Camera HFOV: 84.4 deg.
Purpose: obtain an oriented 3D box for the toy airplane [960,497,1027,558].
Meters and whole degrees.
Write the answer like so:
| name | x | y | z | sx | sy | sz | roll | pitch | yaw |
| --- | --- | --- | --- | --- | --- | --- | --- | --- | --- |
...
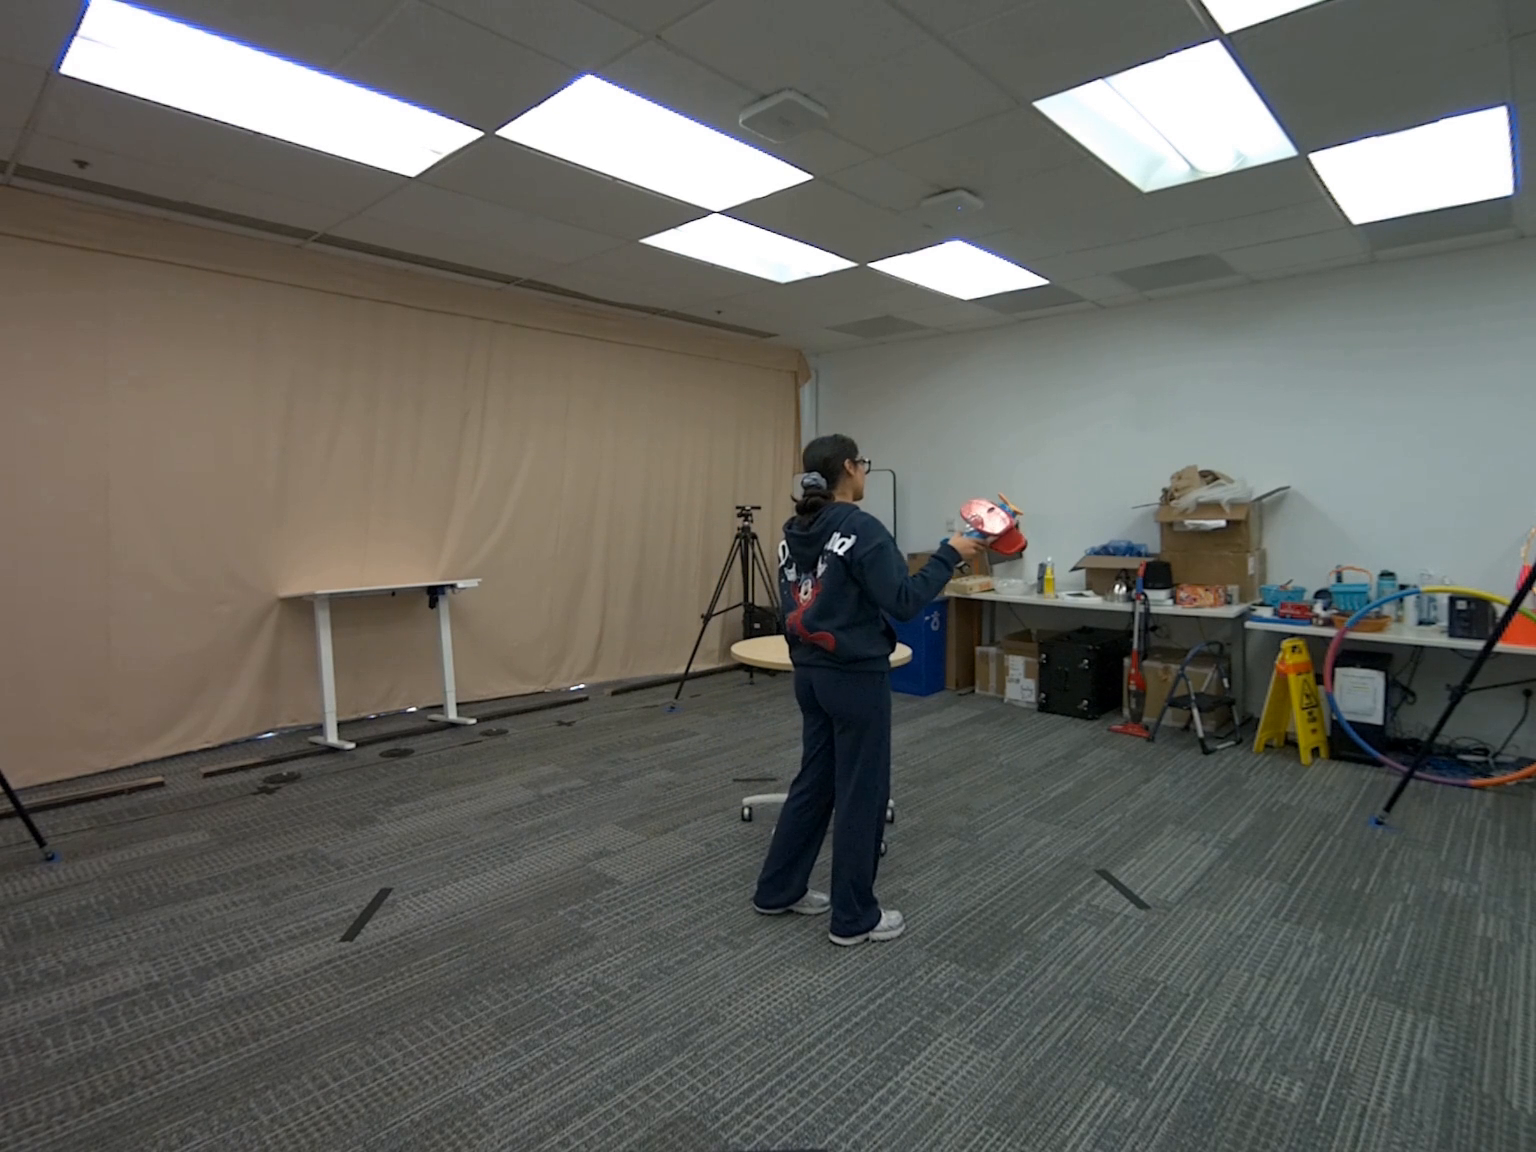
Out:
| name | x | y | z | sx | sy | sz | roll | pitch | yaw |
| --- | --- | --- | --- | --- | --- | --- | --- | --- | --- |
| toy airplane | 0.685 | -0.122 | 2.576 | 0.256 | 0.153 | 0.260 | -39 | 30 | -28 |
